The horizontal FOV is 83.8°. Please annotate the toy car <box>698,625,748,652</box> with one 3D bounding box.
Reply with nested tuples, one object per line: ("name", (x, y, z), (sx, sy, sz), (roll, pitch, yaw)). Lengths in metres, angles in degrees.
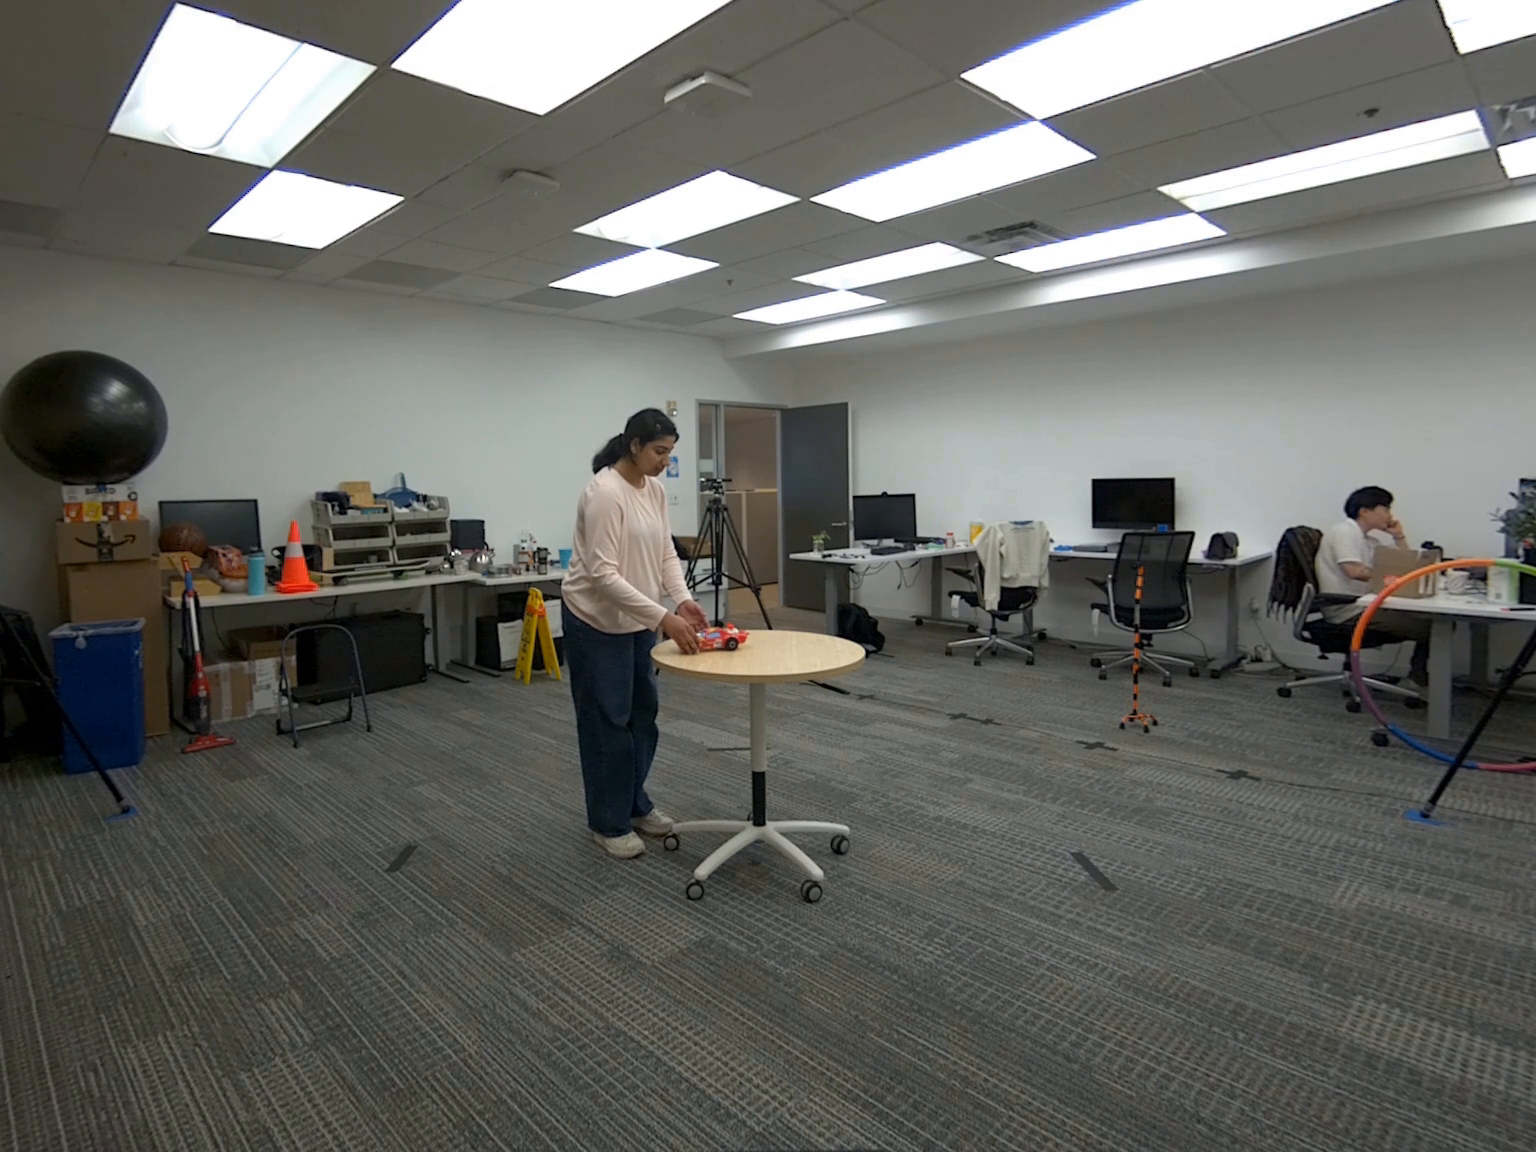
("toy car", (-0.190, 0.231, 3.078), (0.252, 0.082, 0.133), (-16, 10, -14))
